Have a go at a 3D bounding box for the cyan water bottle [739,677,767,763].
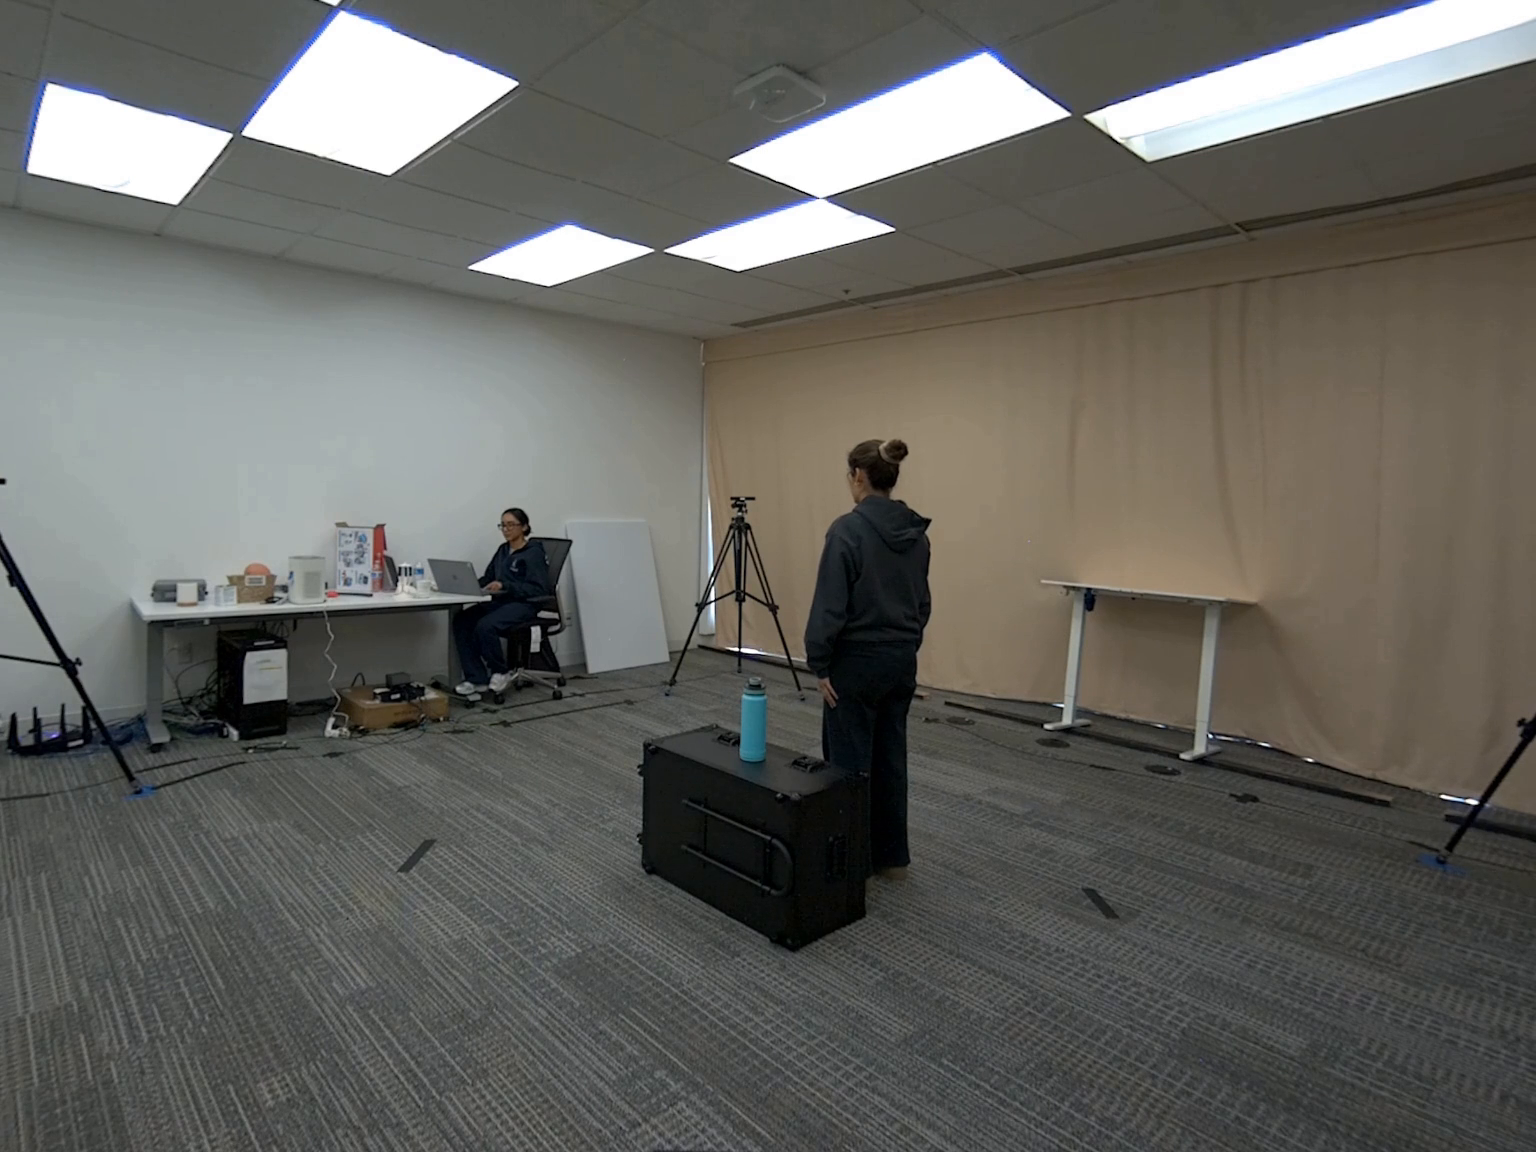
[{"bbox_3d":[-0.052,0.496,2.958,0.092,0.283,0.092,3,3,-2],"label":"cyan water bottle"}]
